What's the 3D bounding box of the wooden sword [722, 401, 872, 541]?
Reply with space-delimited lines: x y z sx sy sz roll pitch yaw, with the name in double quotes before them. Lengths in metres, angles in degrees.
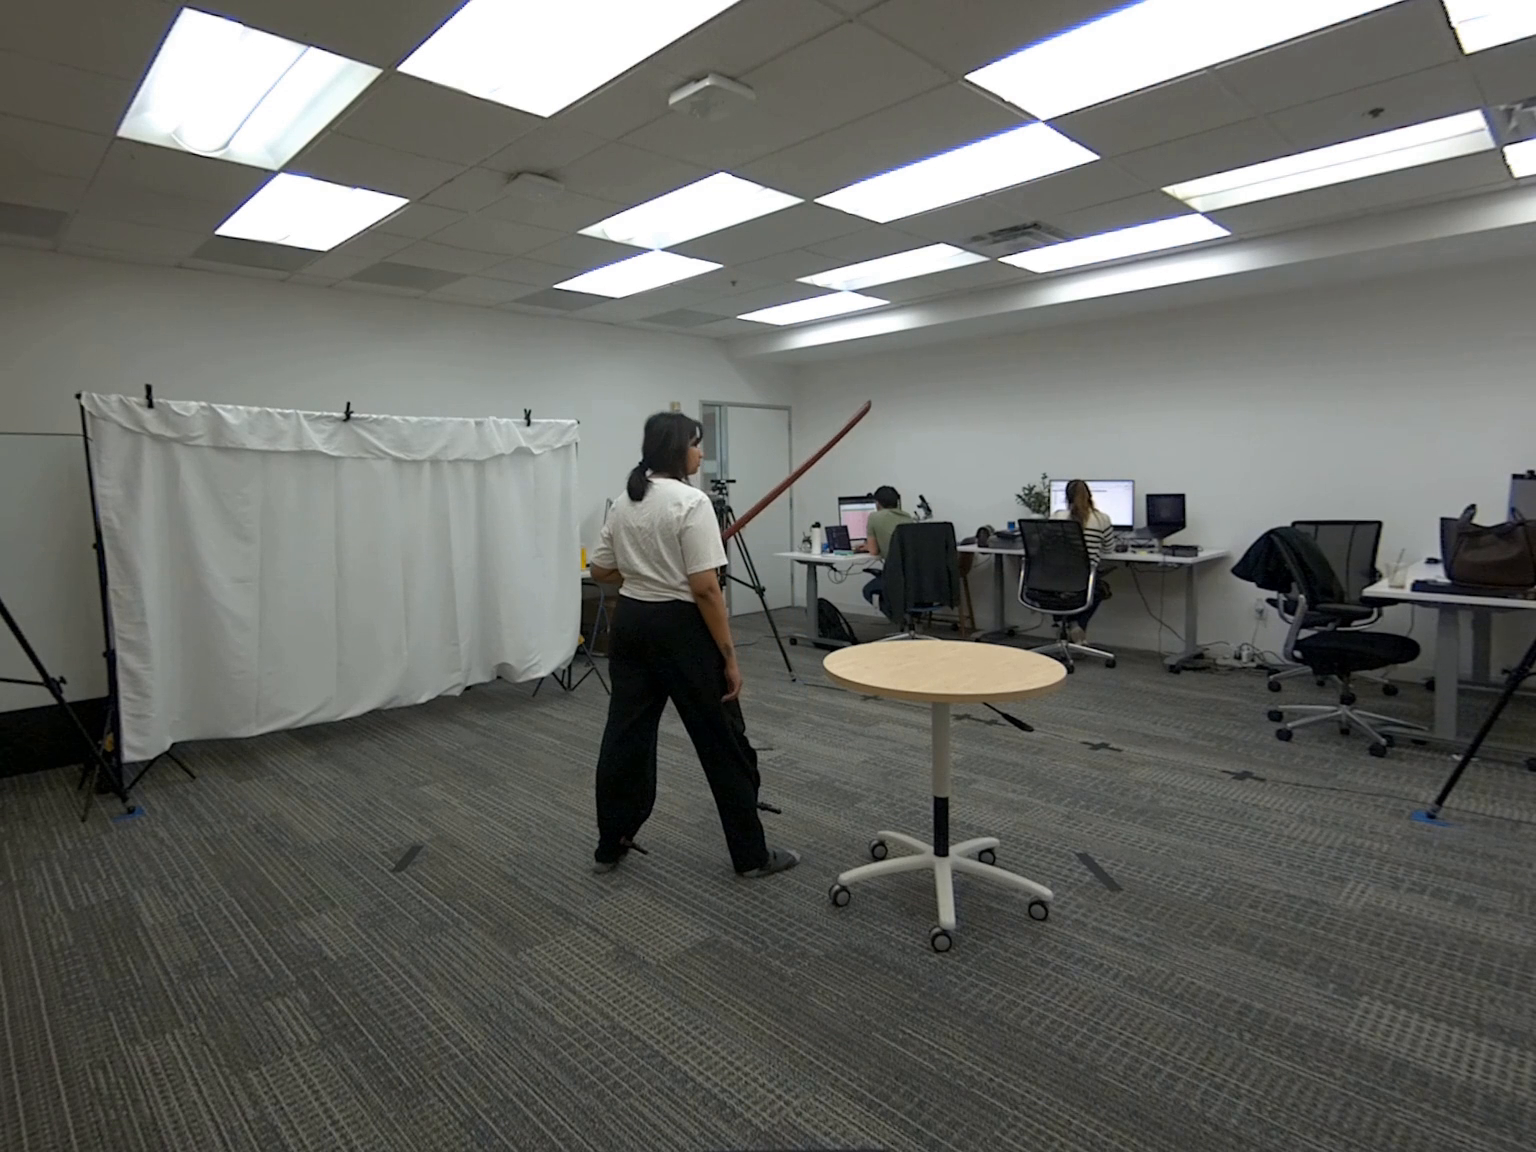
"wooden sword" 0.031 -0.318 3.258 0.053 1.025 0.023 49 3 39
